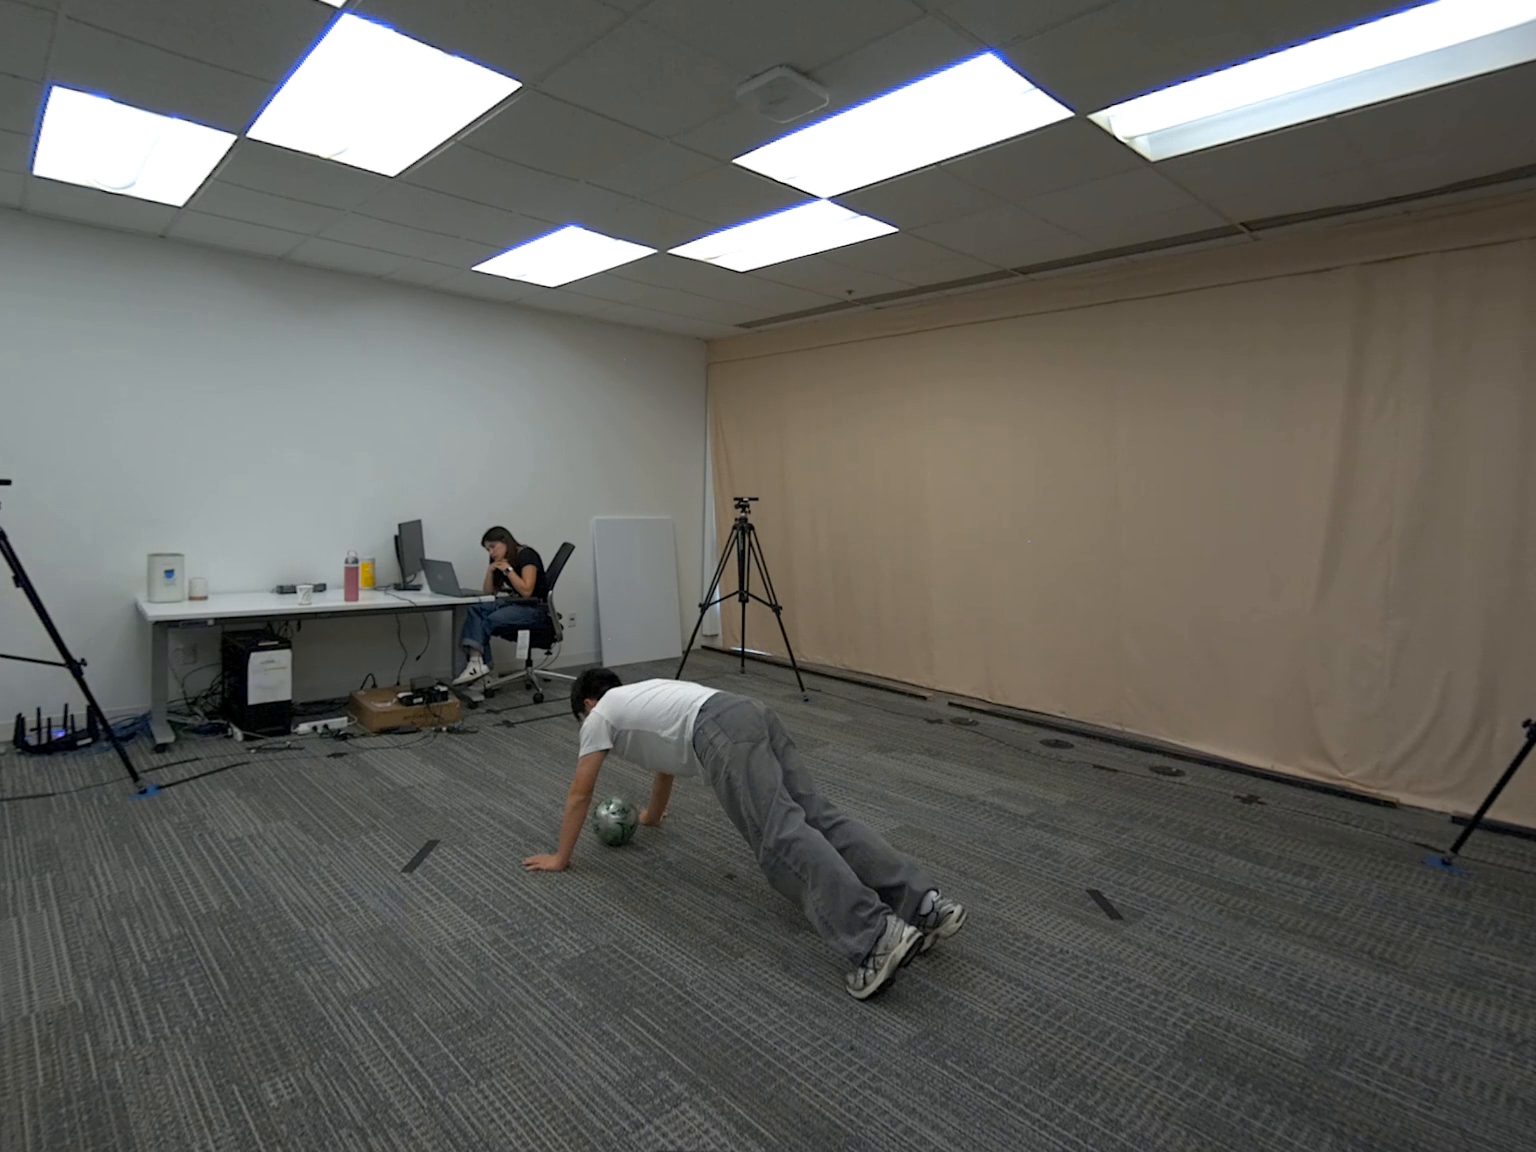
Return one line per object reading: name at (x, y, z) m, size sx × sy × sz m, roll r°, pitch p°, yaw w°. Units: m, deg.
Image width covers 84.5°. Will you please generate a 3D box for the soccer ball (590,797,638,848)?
soccer ball at (-0.624, 0.984, 3.371) m, size 0.187 × 0.187 × 0.188 m, roll 1°, pitch 4°, yaw -1°
